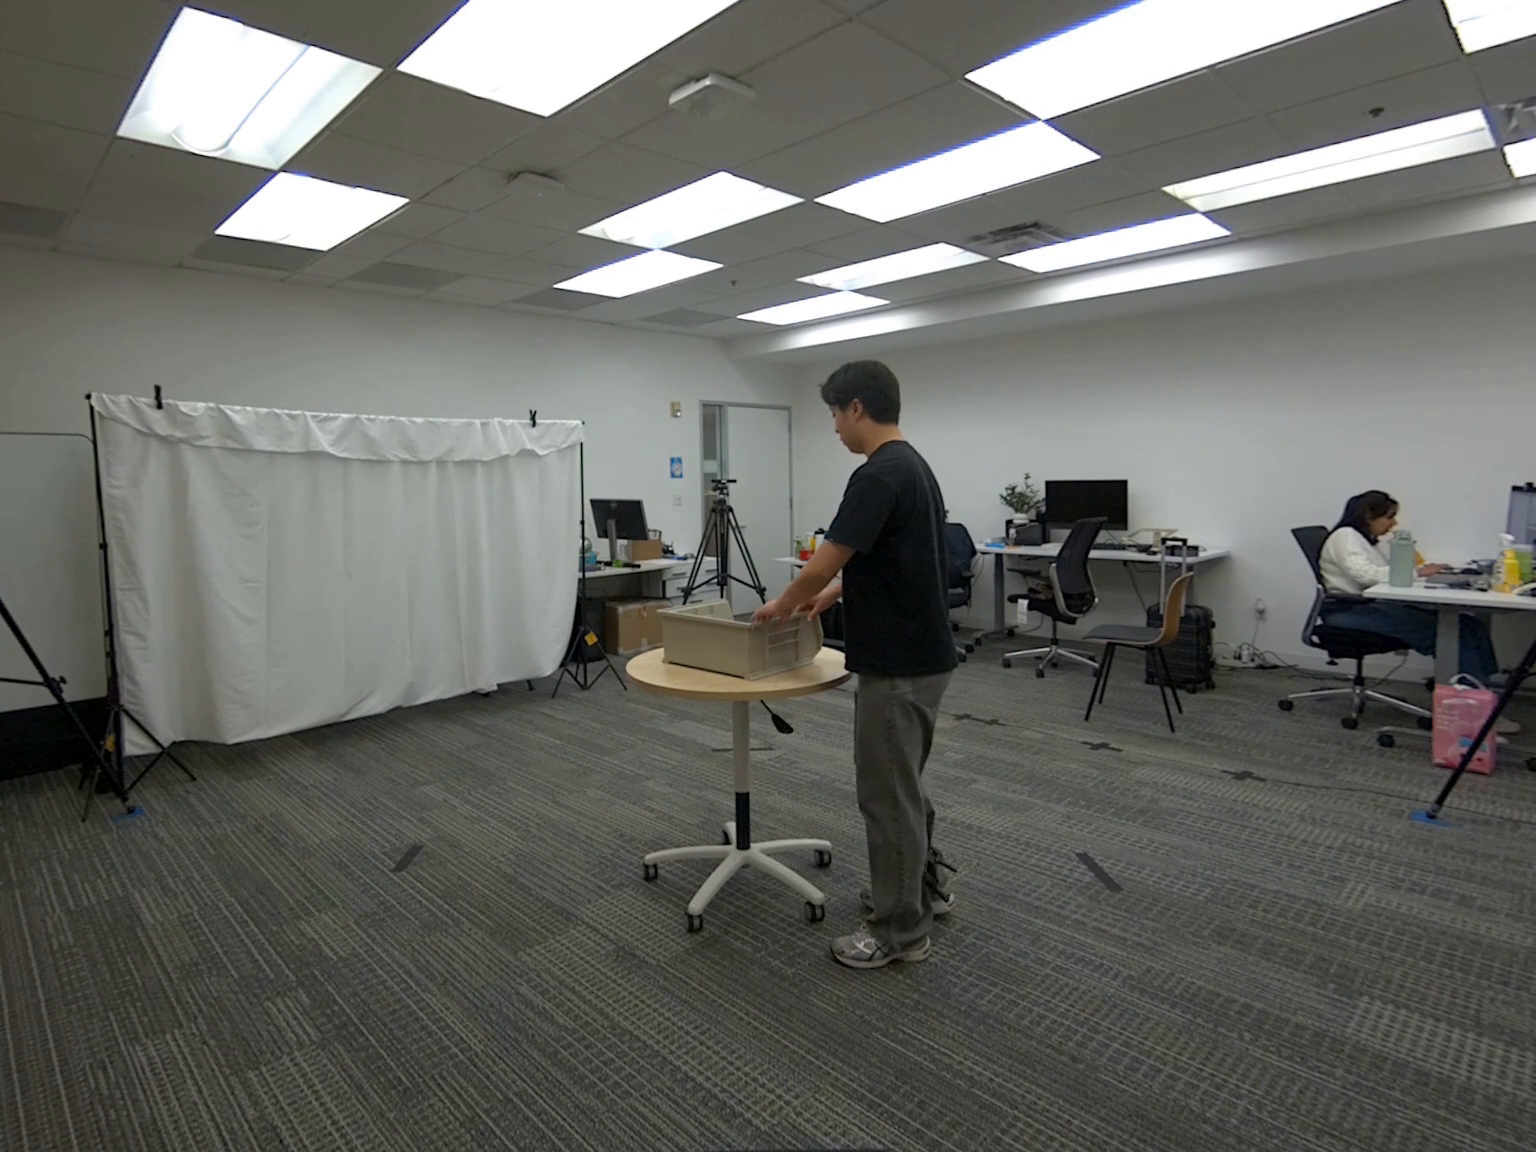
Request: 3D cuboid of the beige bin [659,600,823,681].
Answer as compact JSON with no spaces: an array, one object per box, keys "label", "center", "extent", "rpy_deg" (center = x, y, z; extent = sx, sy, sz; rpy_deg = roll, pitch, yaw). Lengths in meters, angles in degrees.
[{"label":"beige bin","center":[-0.089,0.201,2.884],"extent":[0.435,0.188,0.368],"rpy_deg":[5,10,42]}]
